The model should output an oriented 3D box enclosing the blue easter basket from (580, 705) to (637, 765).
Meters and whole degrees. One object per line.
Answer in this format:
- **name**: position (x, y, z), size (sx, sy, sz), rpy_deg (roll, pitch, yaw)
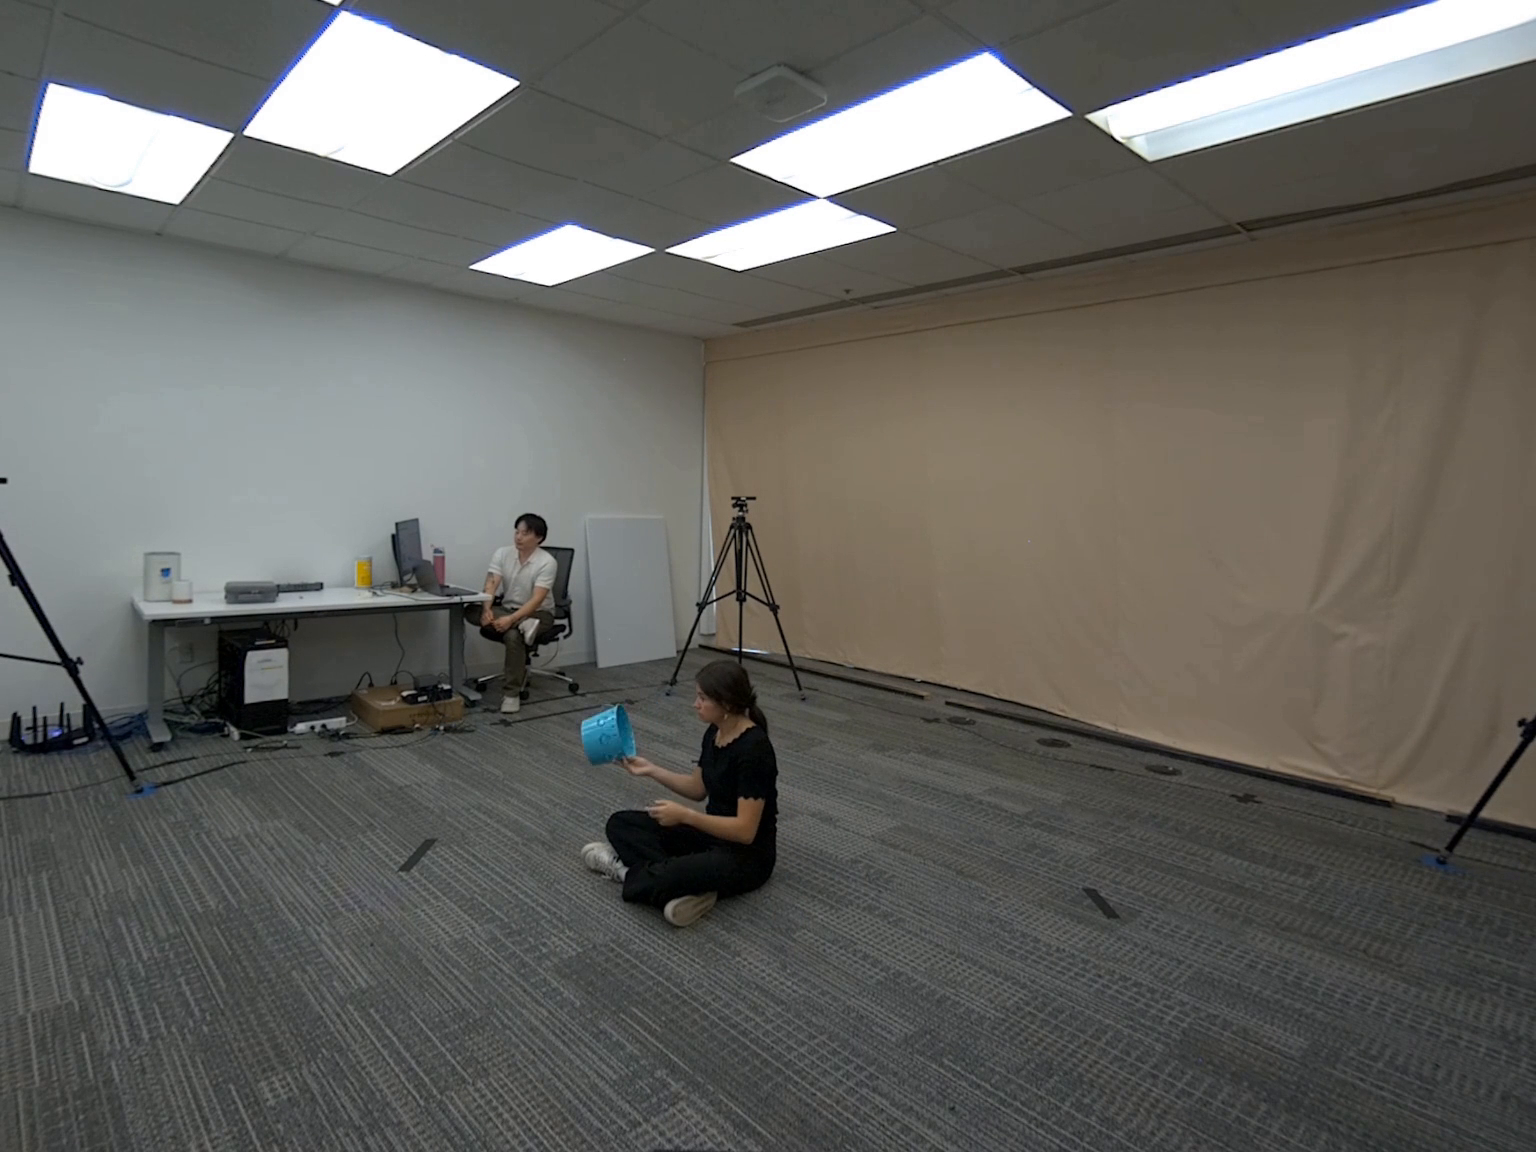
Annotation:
- **blue easter basket**: position (-0.622, 0.638, 3.311), size (0.156, 0.243, 0.244), rpy_deg (-17, 3, 3)
